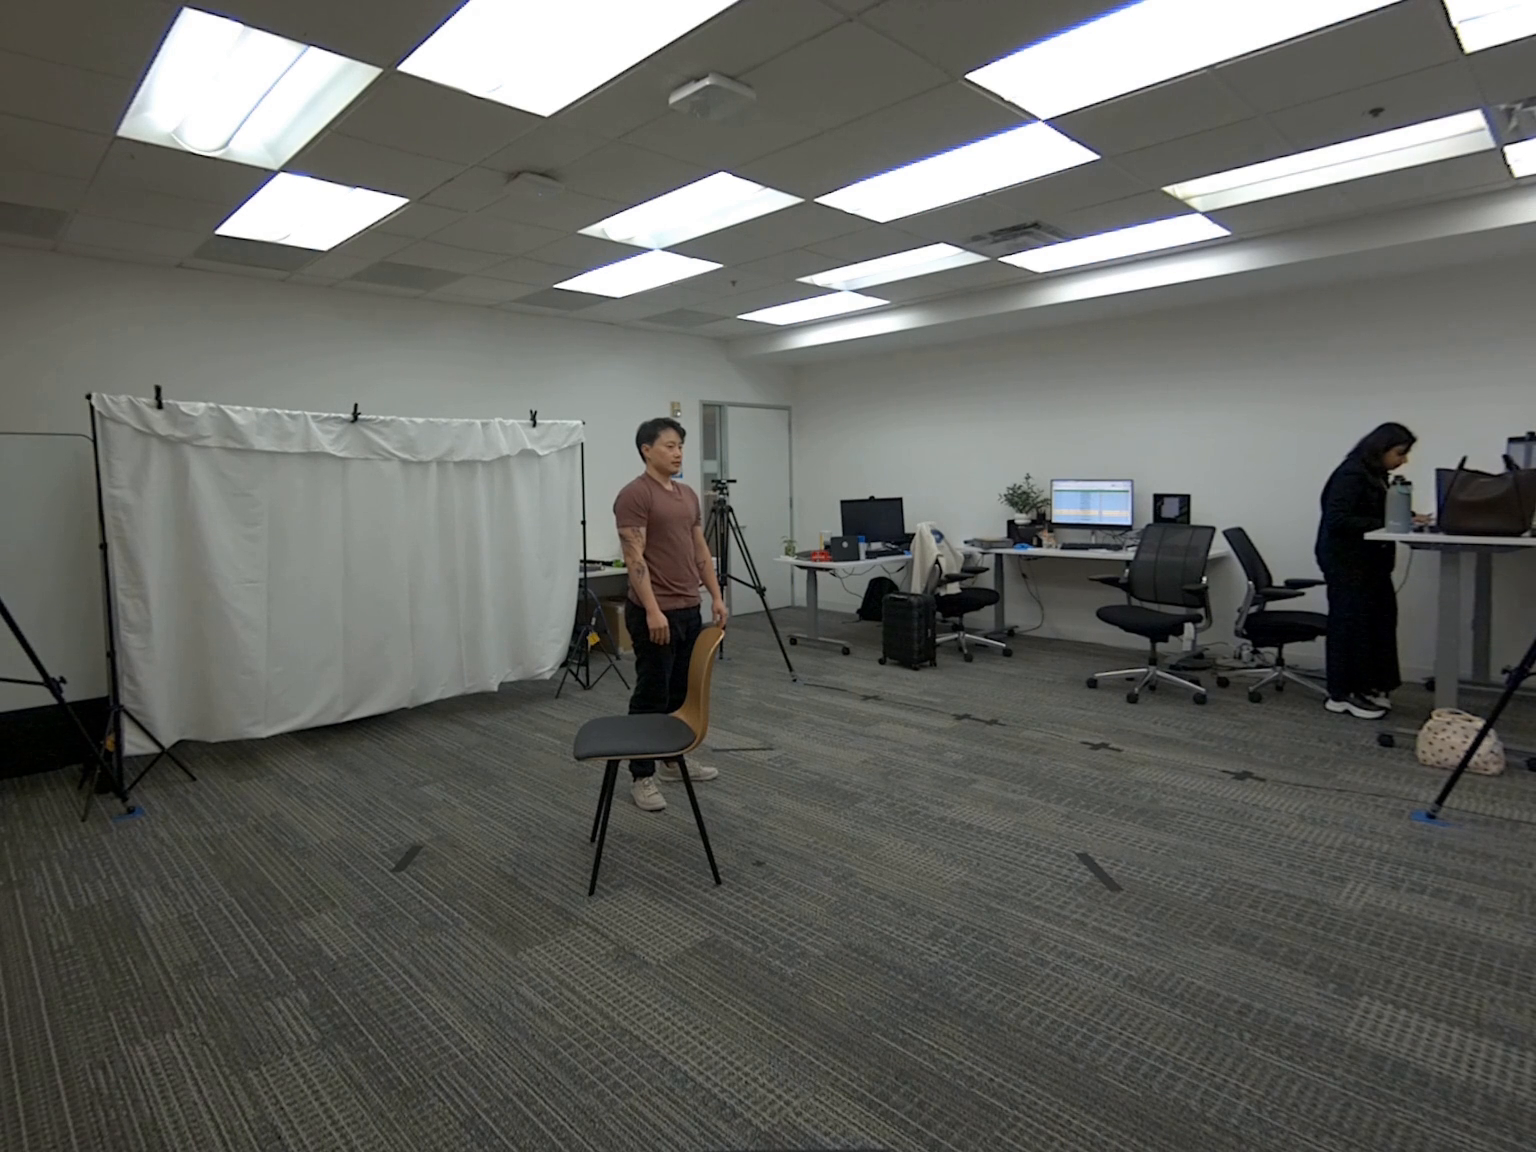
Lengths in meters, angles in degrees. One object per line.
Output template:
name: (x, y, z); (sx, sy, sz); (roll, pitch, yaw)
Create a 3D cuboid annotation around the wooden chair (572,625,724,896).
wooden chair: (-0.443, 0.630, 3.107); (0.518, 0.875, 0.484); (2, 4, -10)
